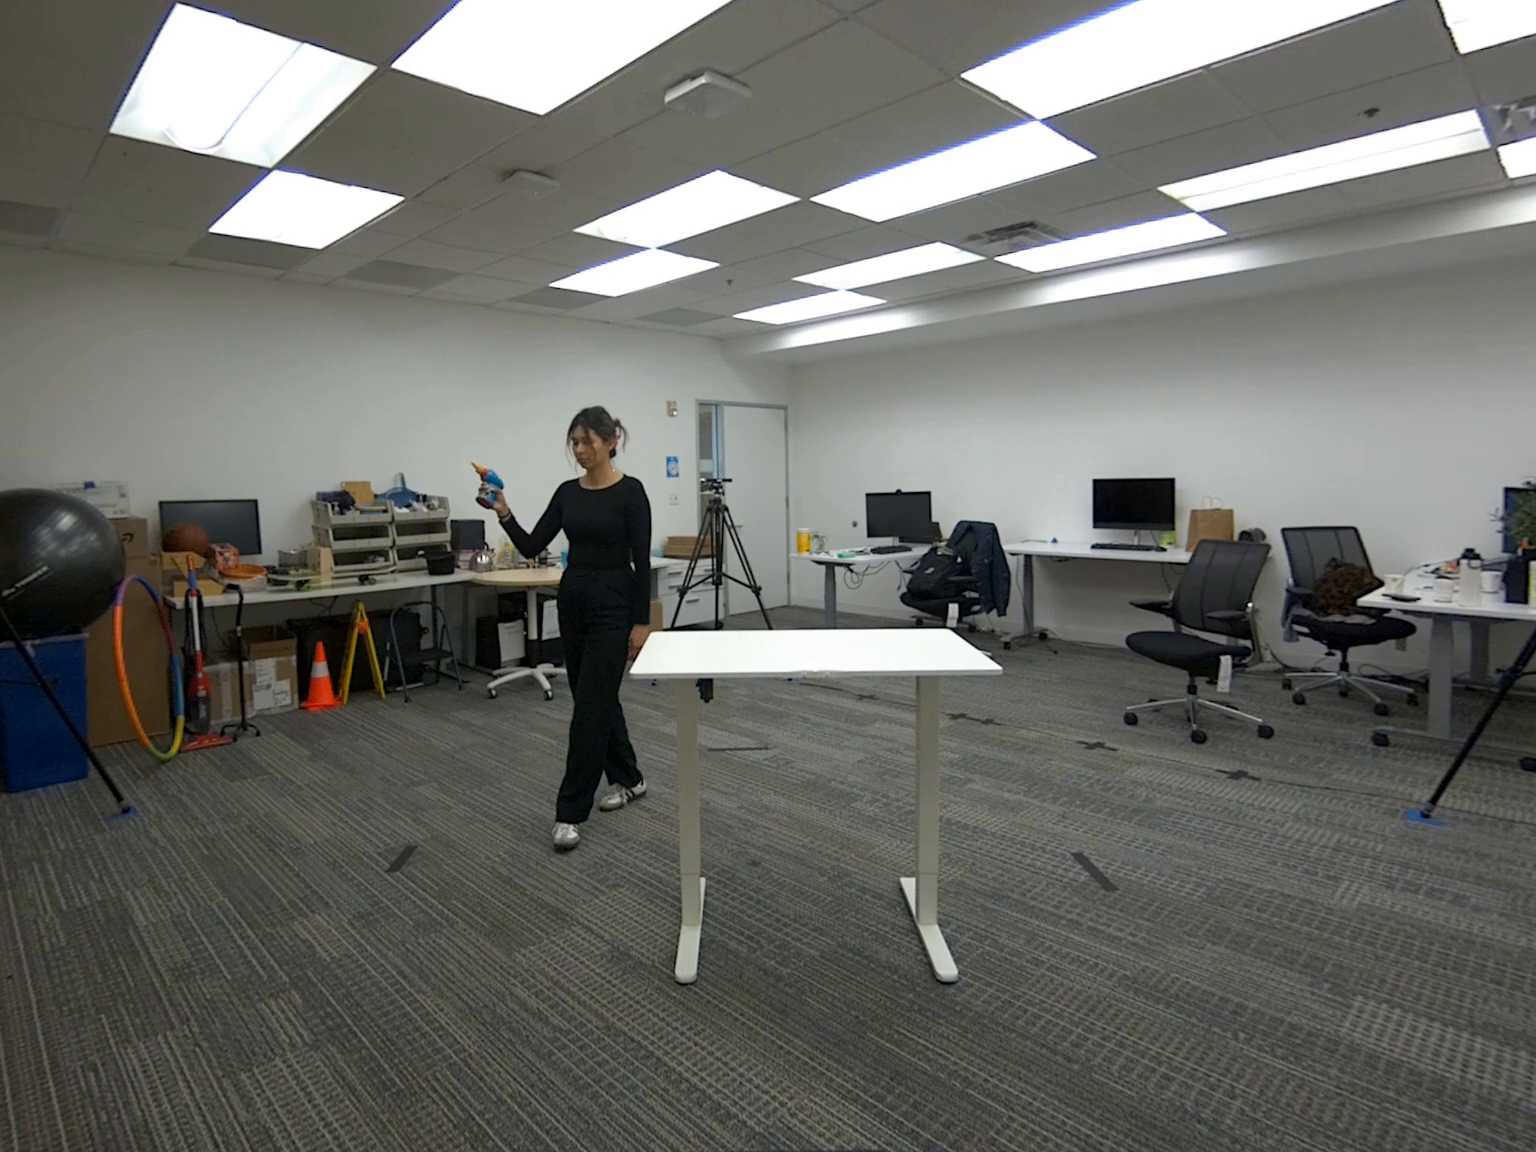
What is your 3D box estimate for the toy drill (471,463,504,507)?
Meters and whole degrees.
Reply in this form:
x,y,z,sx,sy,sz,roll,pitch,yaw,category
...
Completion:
x,y,z,sx,sy,sz,roll,pitch,yaw,category
-1.098,-0.362,3.305,0.062,0.149,0.163,-14,-41,27,toy drill
